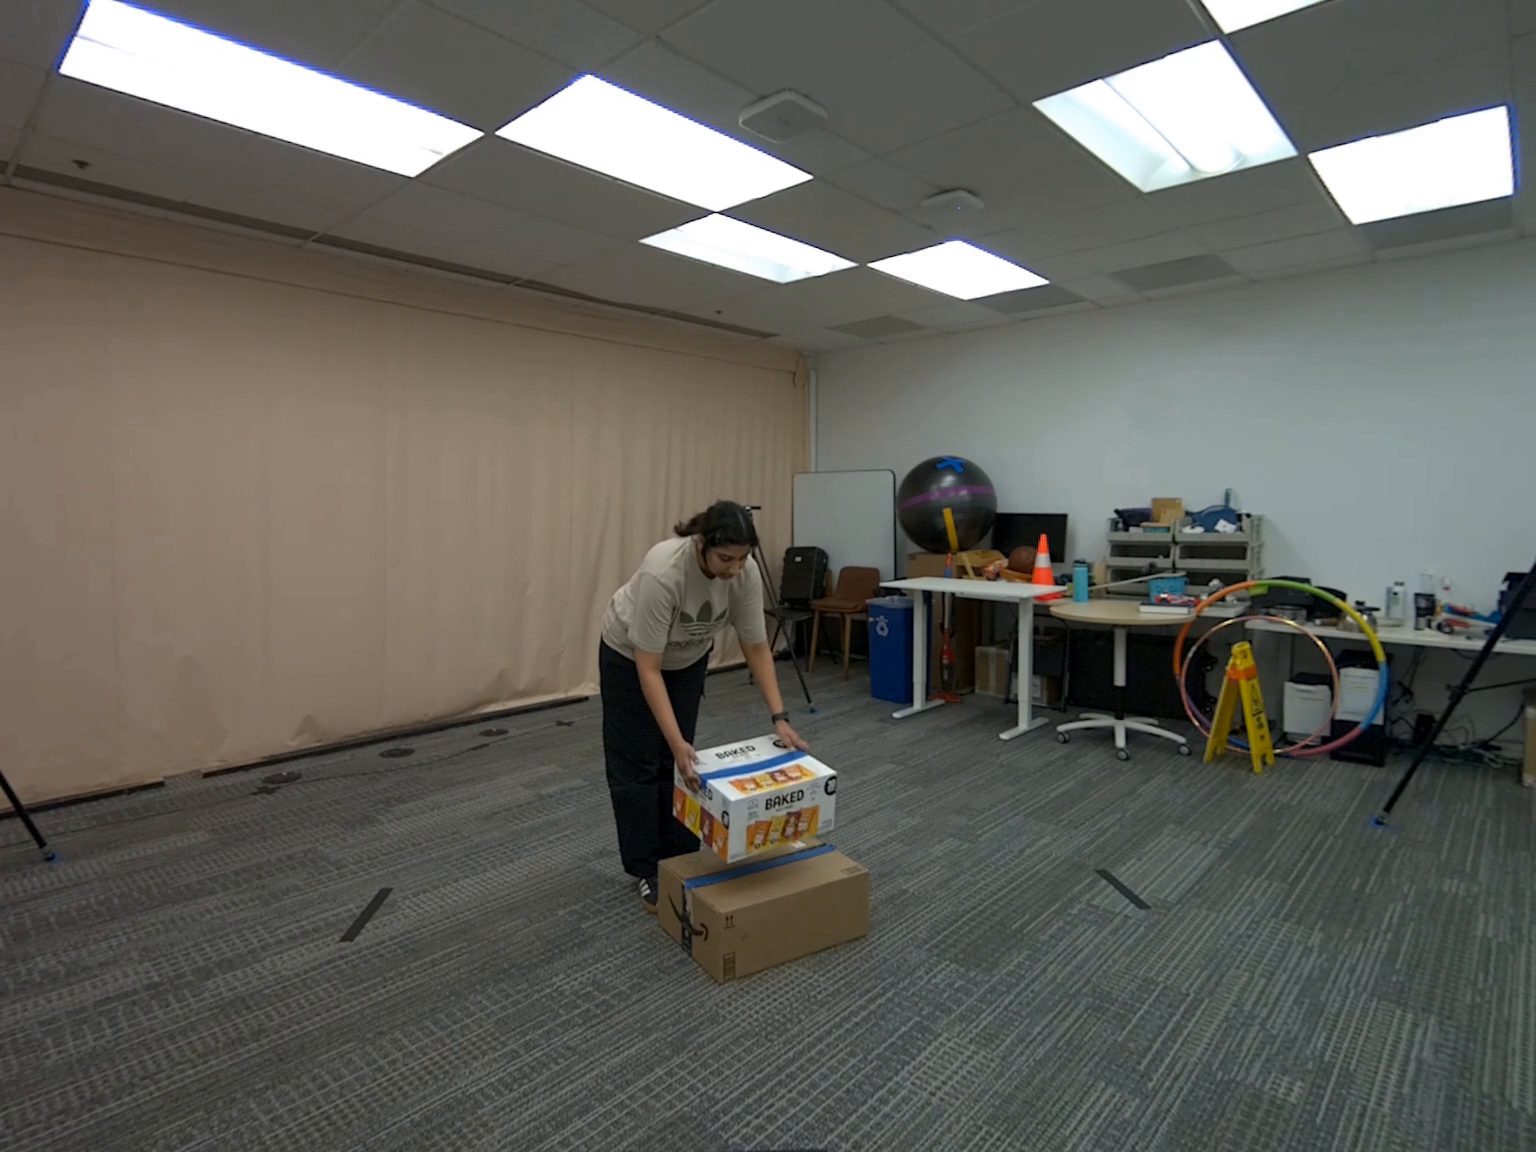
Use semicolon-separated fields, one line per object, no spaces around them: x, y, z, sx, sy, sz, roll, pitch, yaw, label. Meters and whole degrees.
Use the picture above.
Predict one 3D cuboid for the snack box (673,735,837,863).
-0.040;0.699;2.710;0.394;0.204;0.352;-6;14;-33;snack box
